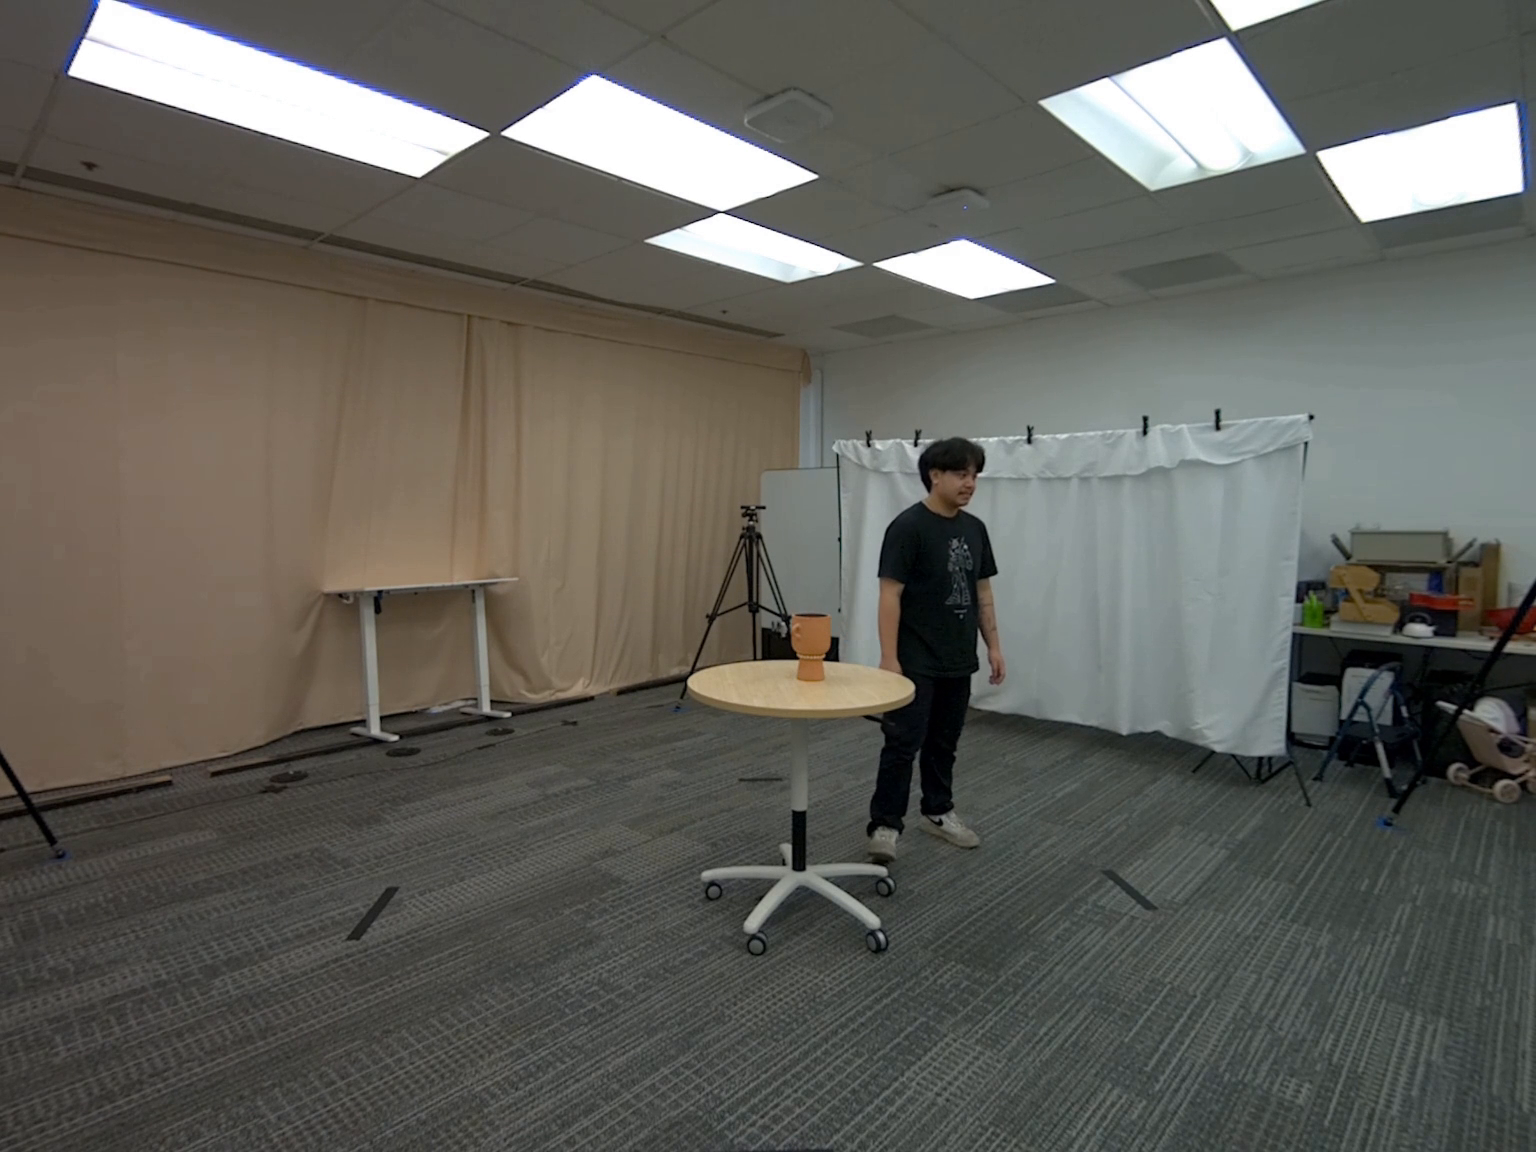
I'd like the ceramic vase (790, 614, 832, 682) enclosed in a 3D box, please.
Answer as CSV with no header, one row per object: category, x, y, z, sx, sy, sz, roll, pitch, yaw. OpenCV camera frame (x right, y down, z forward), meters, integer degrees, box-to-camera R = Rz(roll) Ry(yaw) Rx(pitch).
ceramic vase,0.159,0.247,2.912,0.158,0.219,0.136,1,3,-6
